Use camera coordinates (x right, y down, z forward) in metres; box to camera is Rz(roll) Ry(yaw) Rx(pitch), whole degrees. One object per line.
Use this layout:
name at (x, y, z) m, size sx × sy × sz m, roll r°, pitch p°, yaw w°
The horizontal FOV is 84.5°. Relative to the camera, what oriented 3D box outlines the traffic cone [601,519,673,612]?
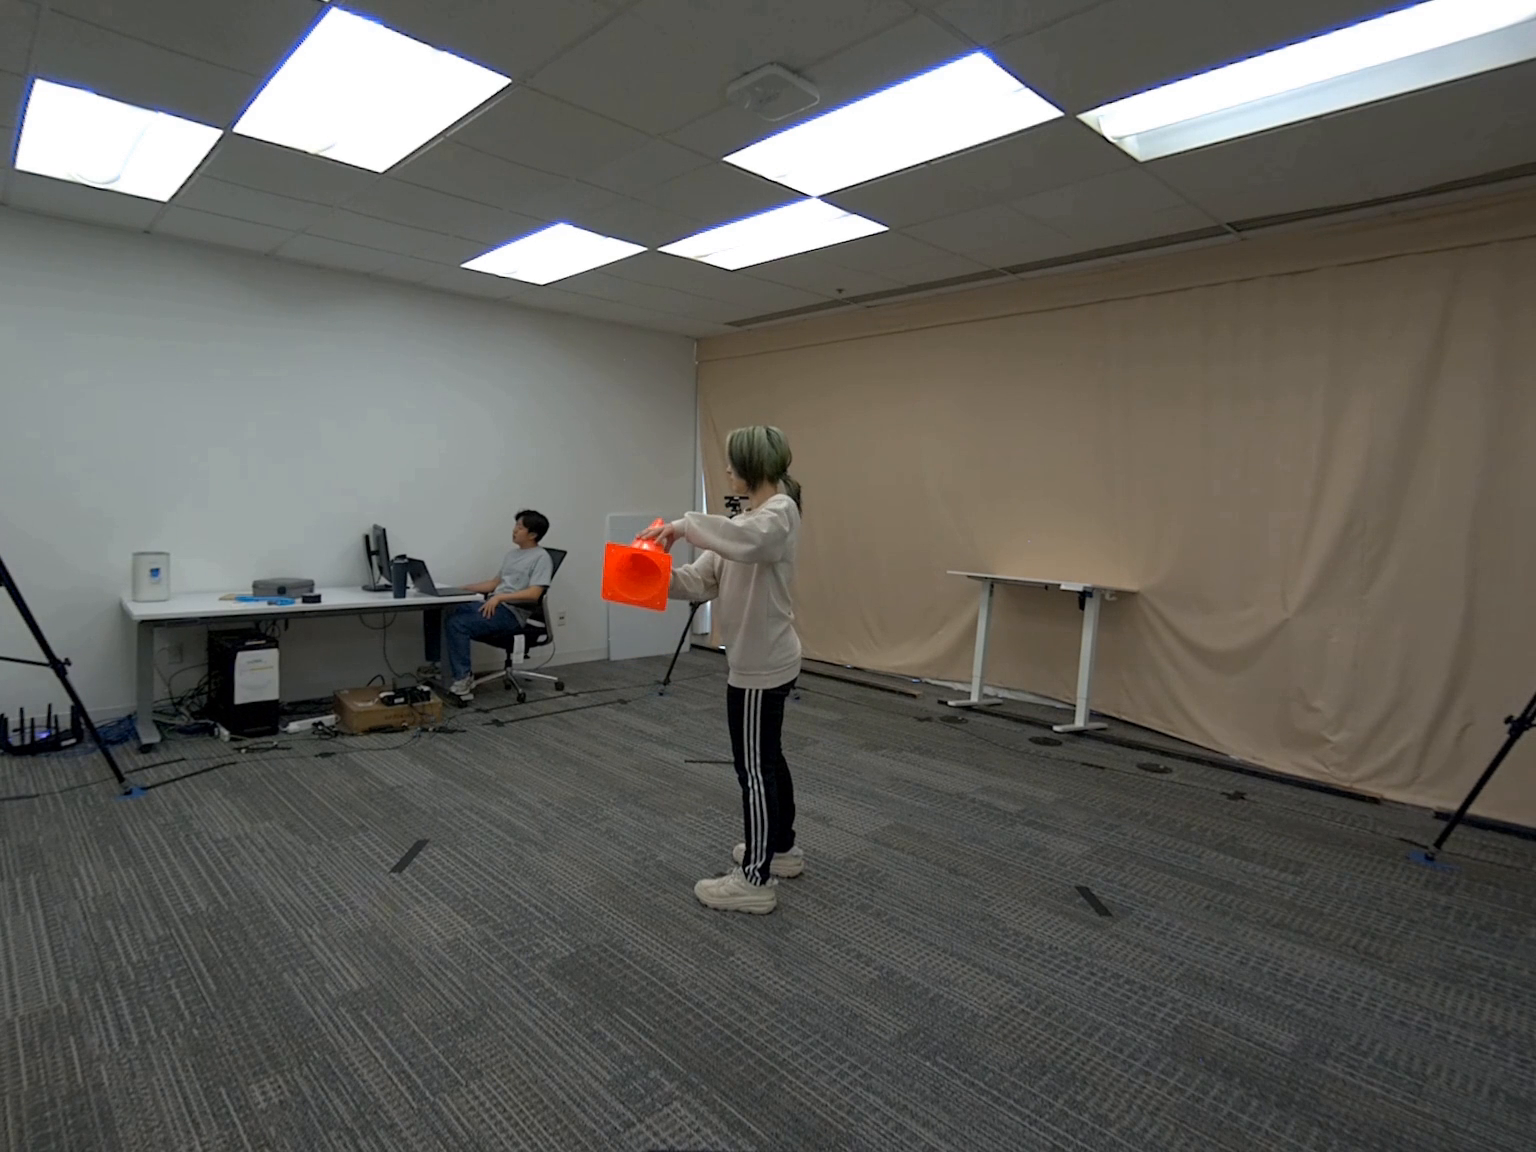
traffic cone at (-0.375, -0.063, 2.644) m, size 0.204 × 0.202 × 0.387 m, roll 11°, pitch 27°, yaw 5°
